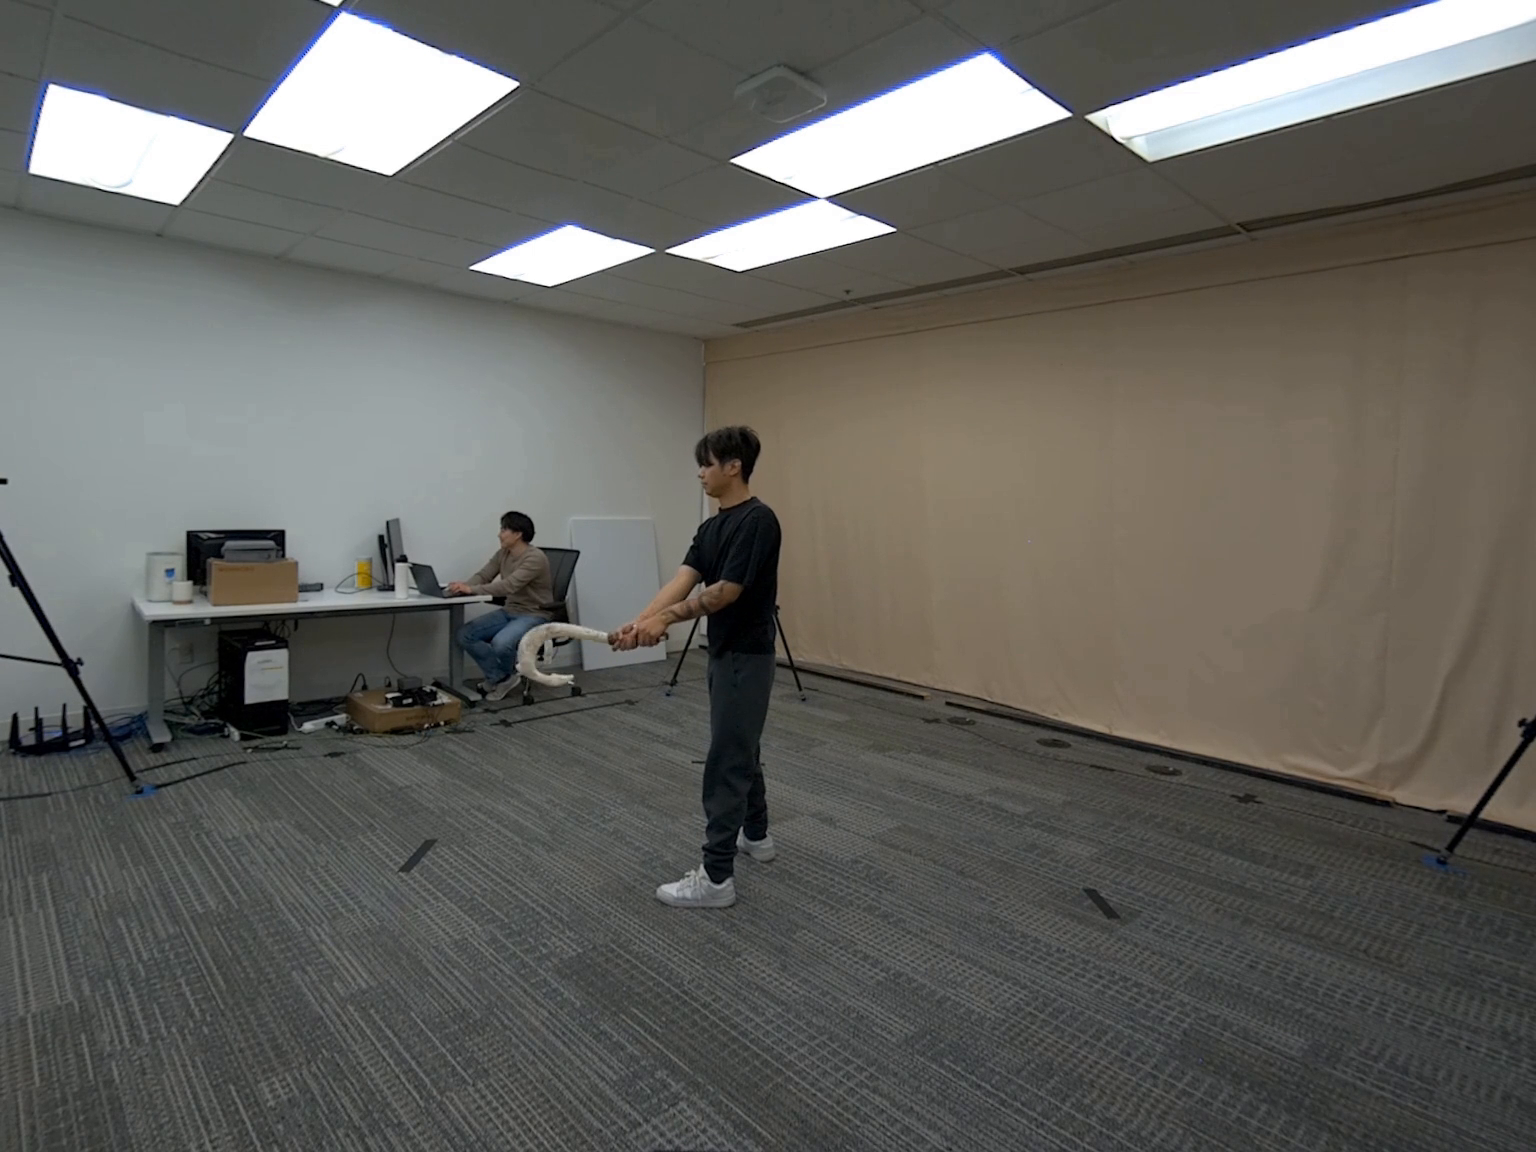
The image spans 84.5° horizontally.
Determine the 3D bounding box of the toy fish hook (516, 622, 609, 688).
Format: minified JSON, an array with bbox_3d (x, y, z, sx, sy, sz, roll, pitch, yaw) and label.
[{"bbox_3d":[-0.578,0.245,2.795,0.507,0.229,0.047,-3,-26,2],"label":"toy fish hook"}]
